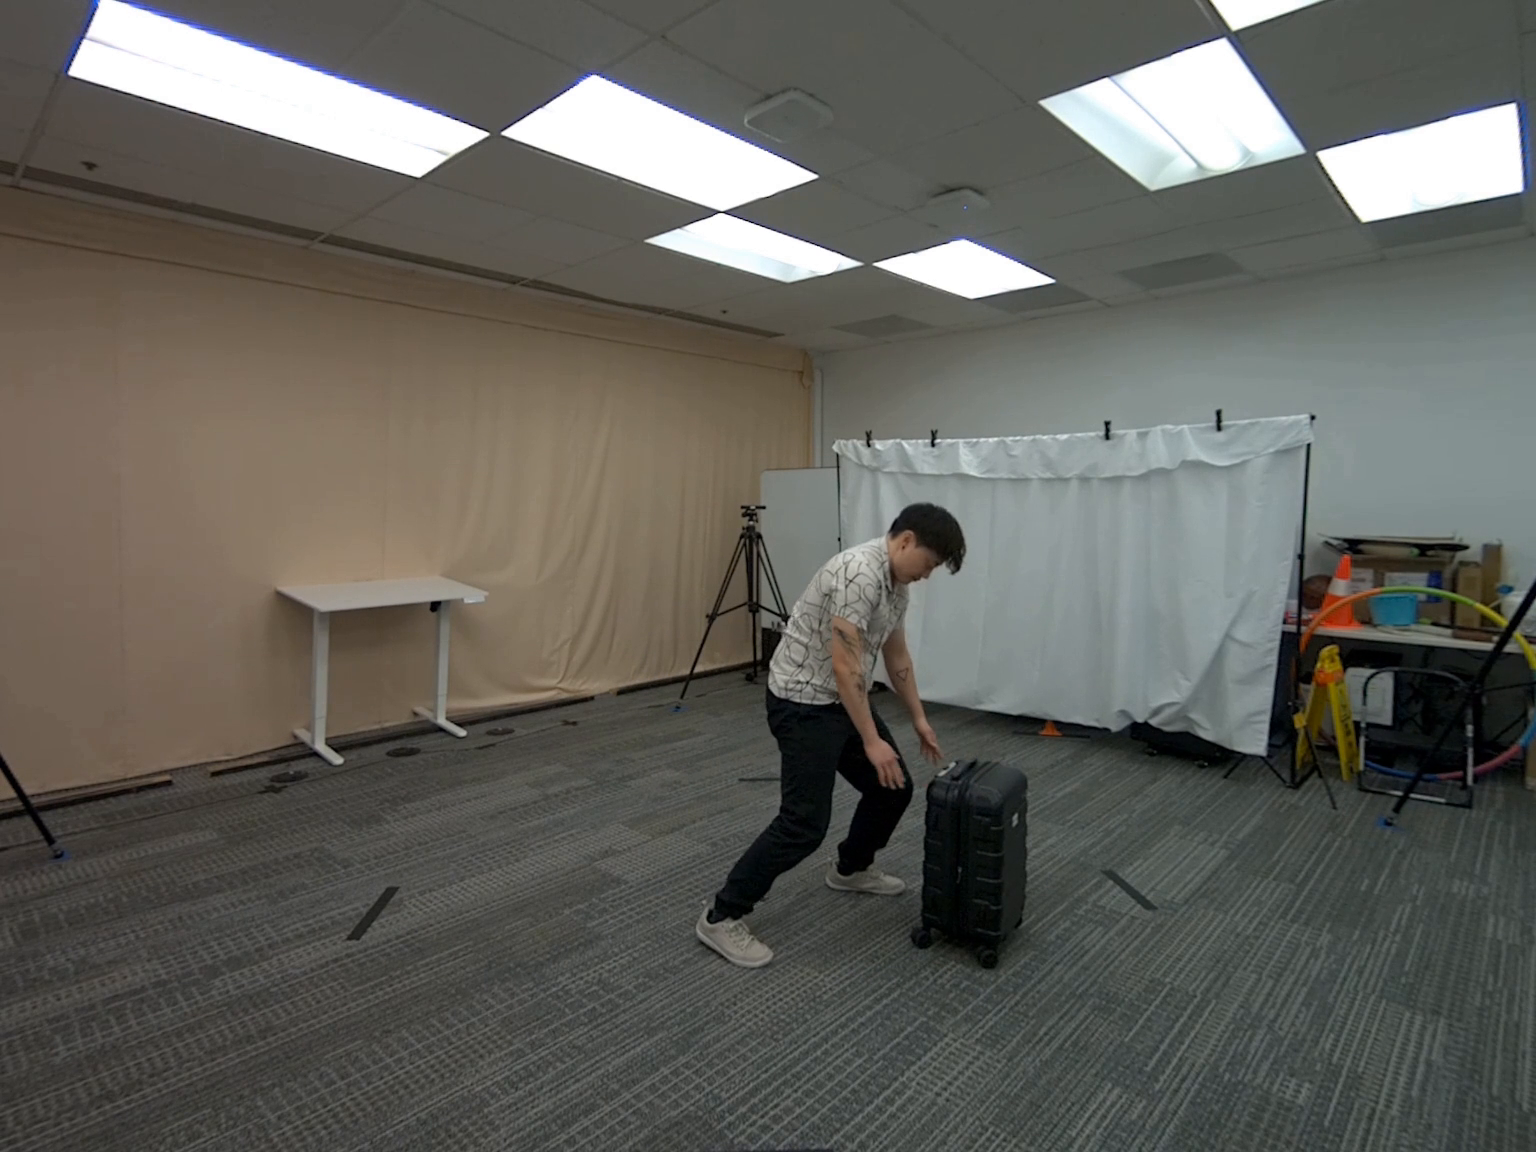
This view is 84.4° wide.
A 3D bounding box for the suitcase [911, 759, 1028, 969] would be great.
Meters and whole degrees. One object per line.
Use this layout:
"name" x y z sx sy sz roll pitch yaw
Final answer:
"suitcase" 0.681 0.892 2.708 0.256 0.548 0.365 4 4 32
